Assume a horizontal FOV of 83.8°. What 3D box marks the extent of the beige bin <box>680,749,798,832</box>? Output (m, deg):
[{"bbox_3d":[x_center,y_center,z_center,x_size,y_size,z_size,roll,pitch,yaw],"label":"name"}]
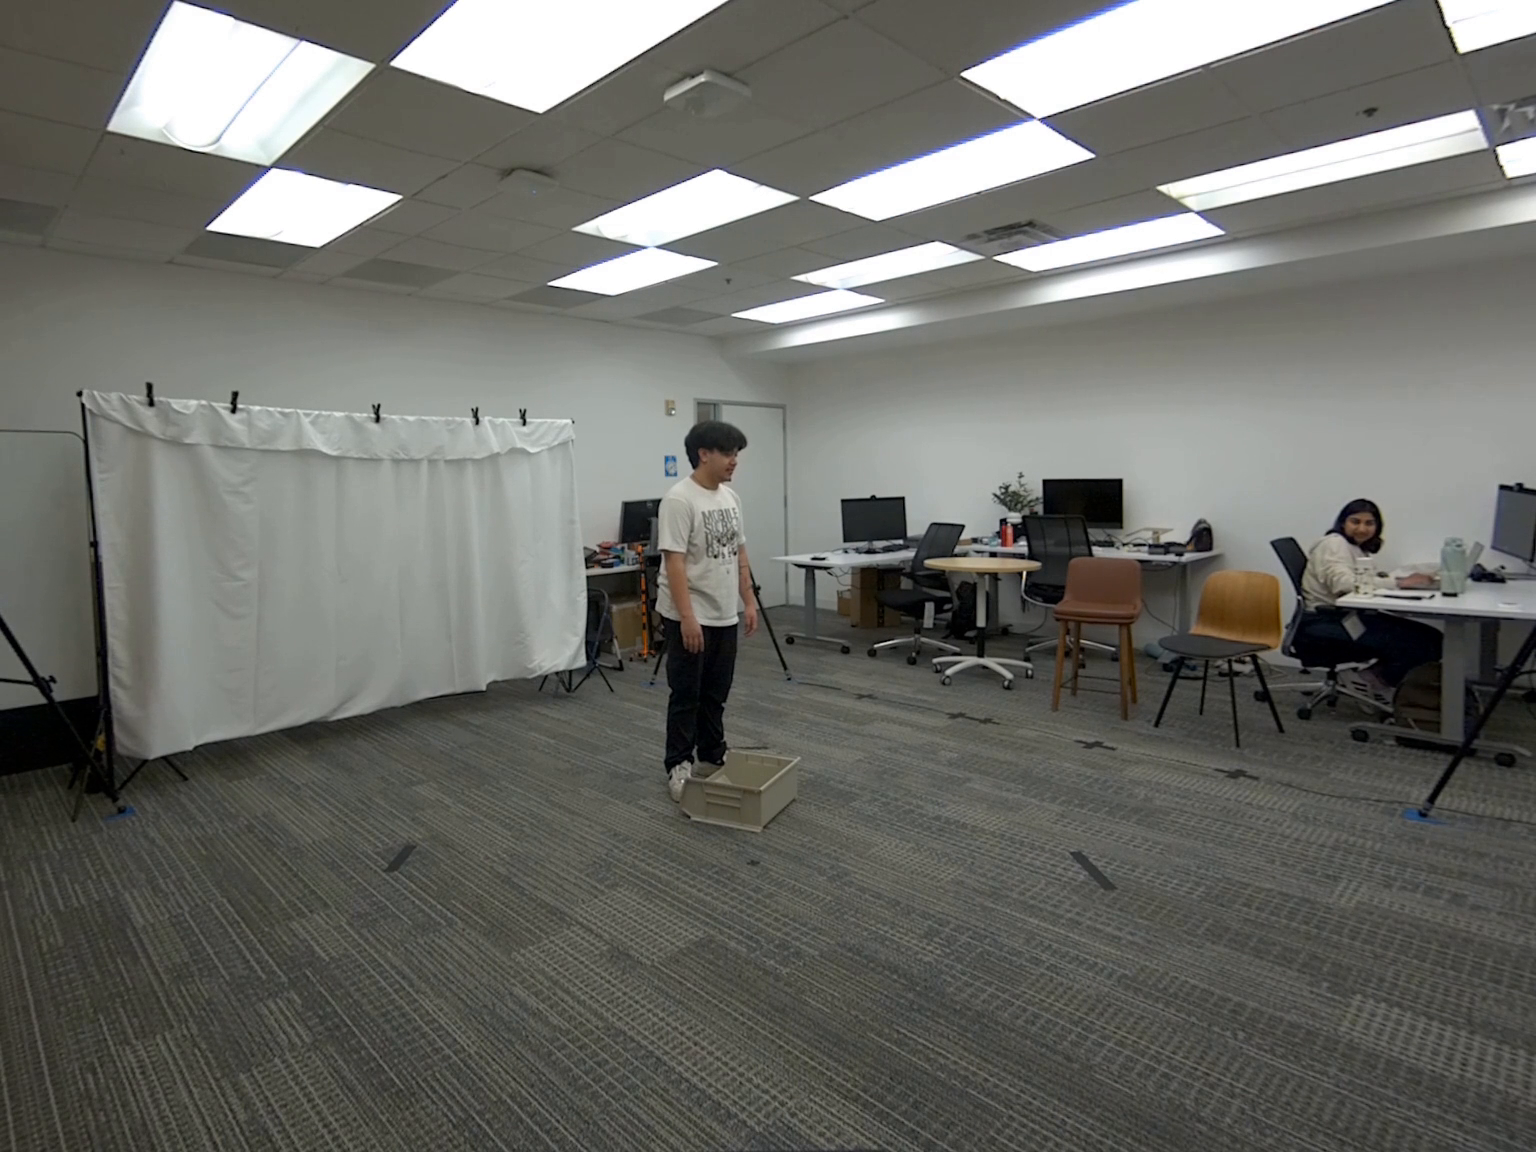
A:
[{"bbox_3d":[-0.109,0.894,3.622,0.386,0.188,0.414,3,6,25],"label":"beige bin"}]
